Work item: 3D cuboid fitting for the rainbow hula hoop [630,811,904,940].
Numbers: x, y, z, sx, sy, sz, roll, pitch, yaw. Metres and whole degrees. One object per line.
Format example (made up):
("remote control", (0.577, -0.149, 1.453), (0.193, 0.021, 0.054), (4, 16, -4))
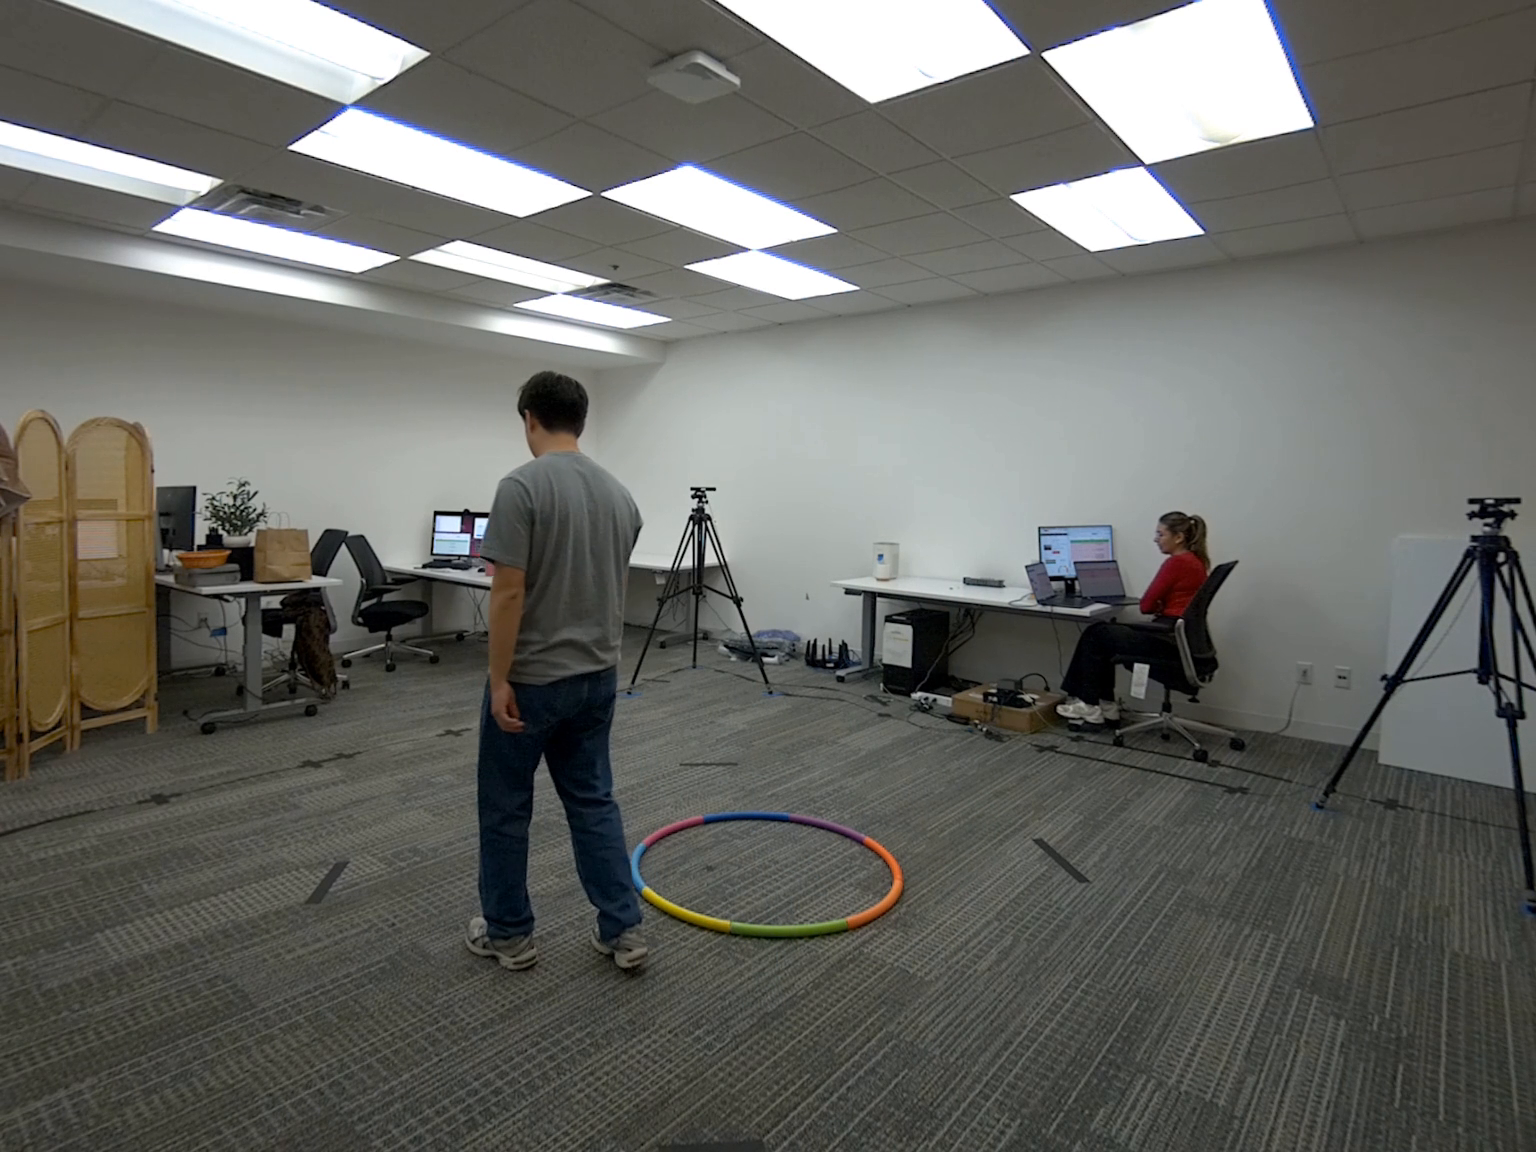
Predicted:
("rainbow hula hoop", (-0.018, 1.040, 3.104), (0.978, 0.035, 0.984), (1, 5, -2))
